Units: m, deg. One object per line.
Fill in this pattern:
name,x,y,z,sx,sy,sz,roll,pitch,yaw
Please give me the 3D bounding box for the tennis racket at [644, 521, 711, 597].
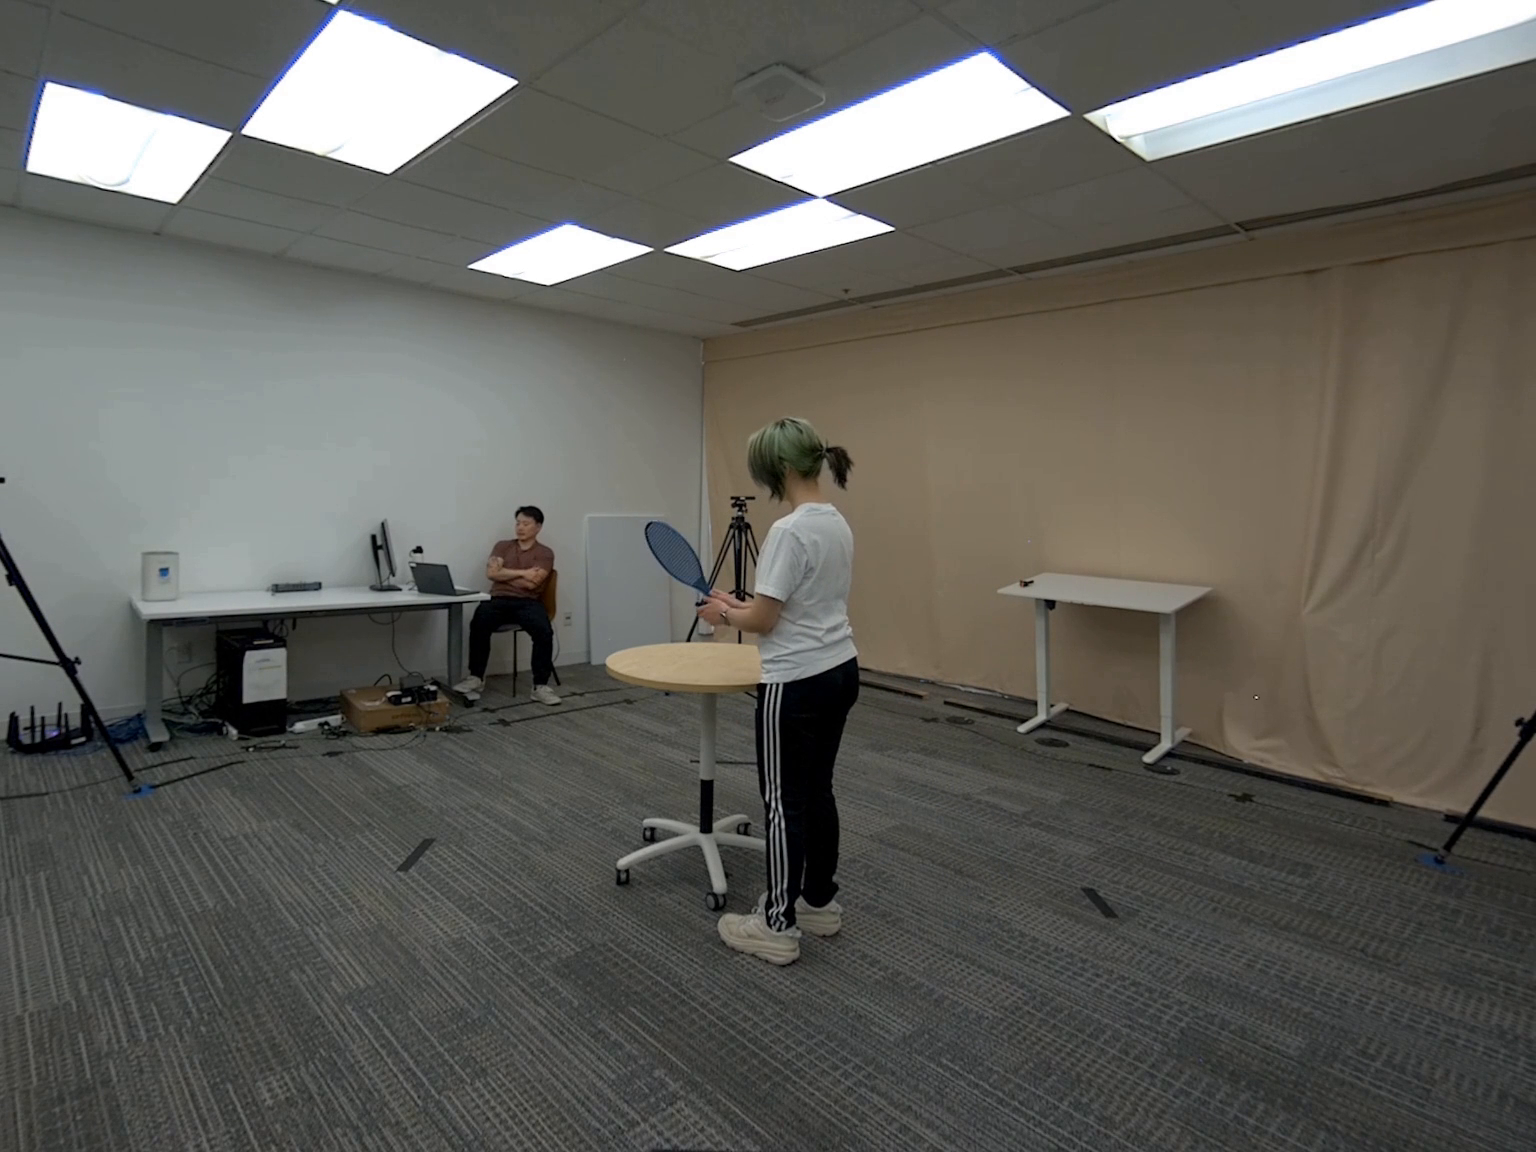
tennis racket,-0.263,-0.011,2.822,0.031,0.438,0.212,-37,-13,-35
